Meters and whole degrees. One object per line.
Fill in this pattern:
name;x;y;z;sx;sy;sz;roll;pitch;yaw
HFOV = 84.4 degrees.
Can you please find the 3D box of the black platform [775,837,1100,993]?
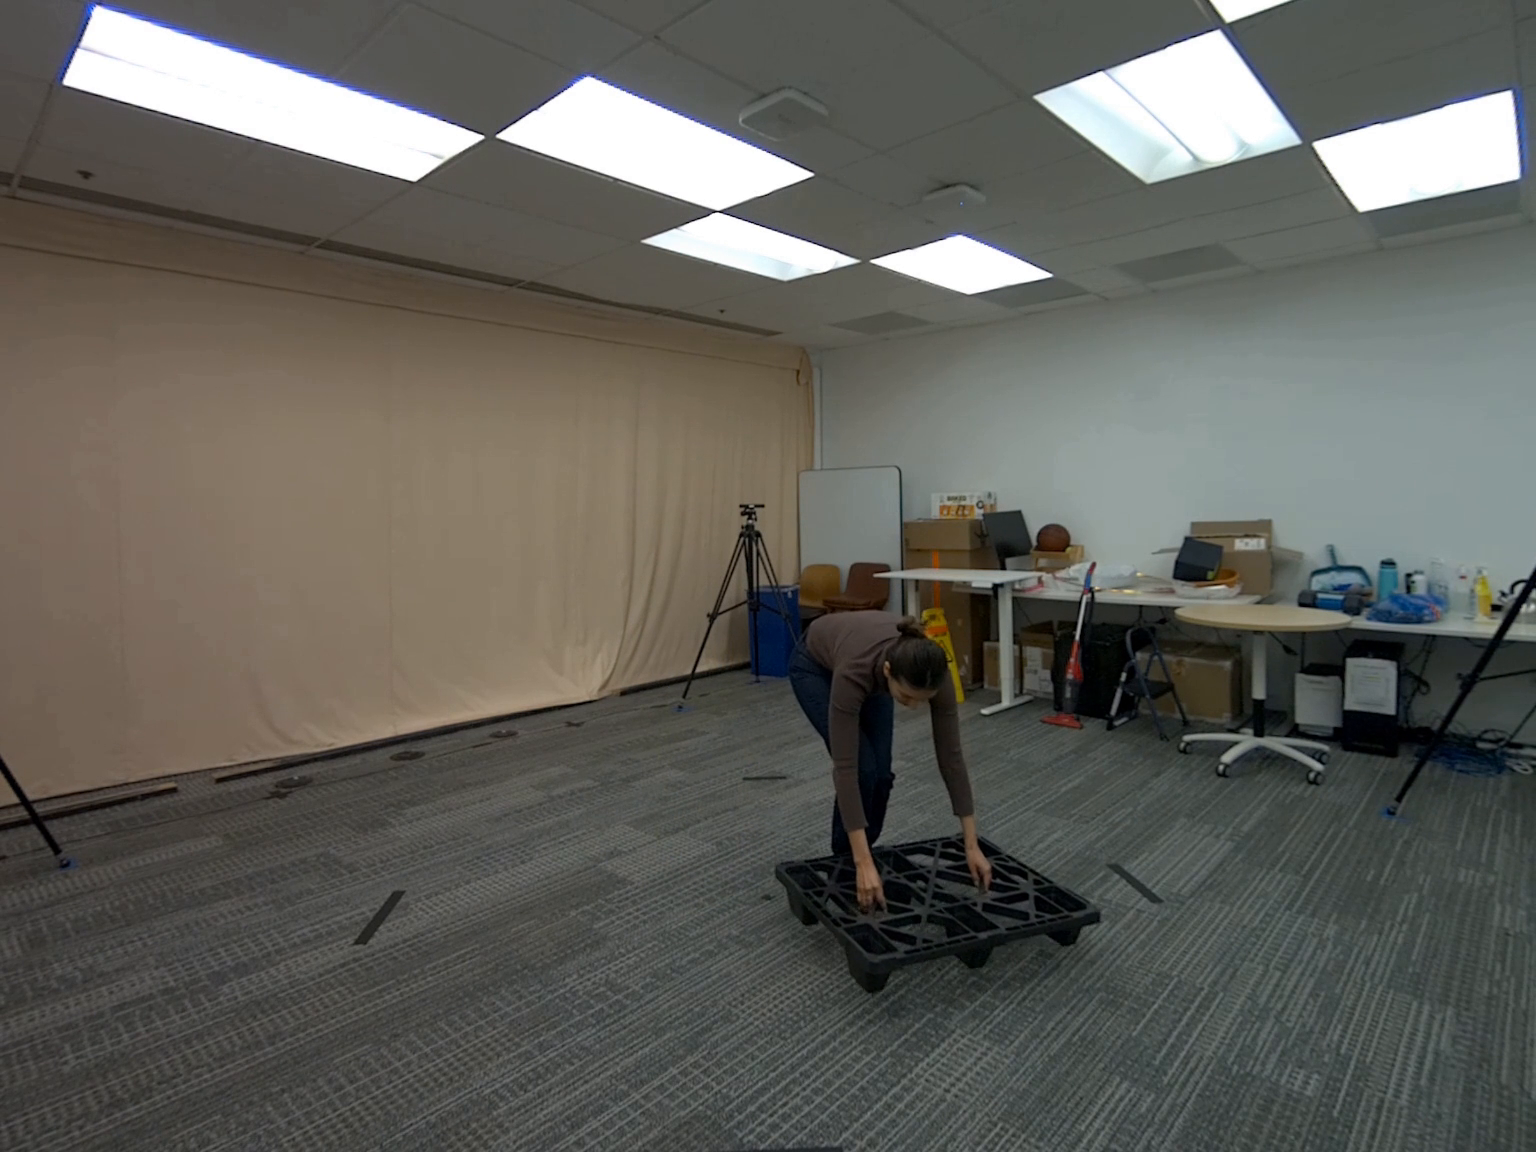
black platform;0.514;1.033;2.616;0.788;0.143;0.621;-2;8;-23
